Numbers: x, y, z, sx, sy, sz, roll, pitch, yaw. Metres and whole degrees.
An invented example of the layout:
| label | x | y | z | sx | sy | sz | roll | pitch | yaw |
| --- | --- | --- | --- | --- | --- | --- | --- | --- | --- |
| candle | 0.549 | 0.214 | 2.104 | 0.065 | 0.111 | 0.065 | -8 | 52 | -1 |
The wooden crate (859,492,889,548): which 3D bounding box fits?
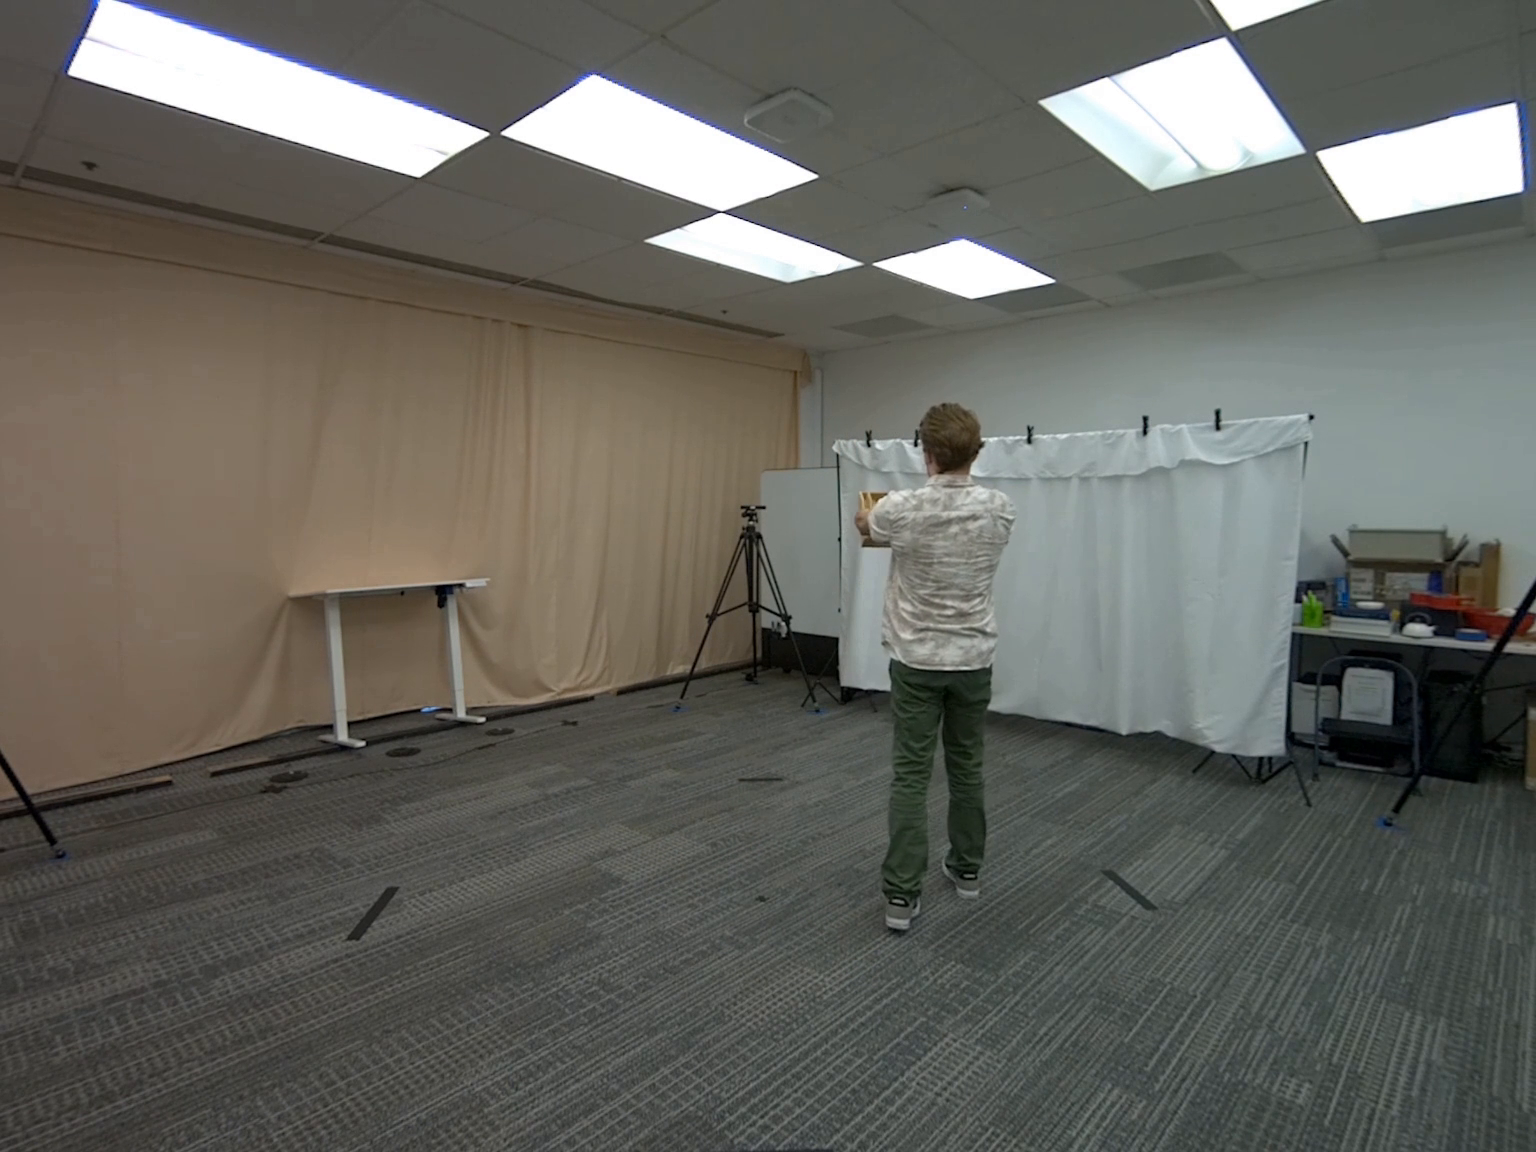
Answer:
| label | x | y | z | sx | sy | sz | roll | pitch | yaw |
| --- | --- | --- | --- | --- | --- | --- | --- | --- | --- |
| wooden crate | 0.581 | -0.266 | 3.562 | 0.323 | 0.306 | 0.270 | 0 | -24 | -3 |
